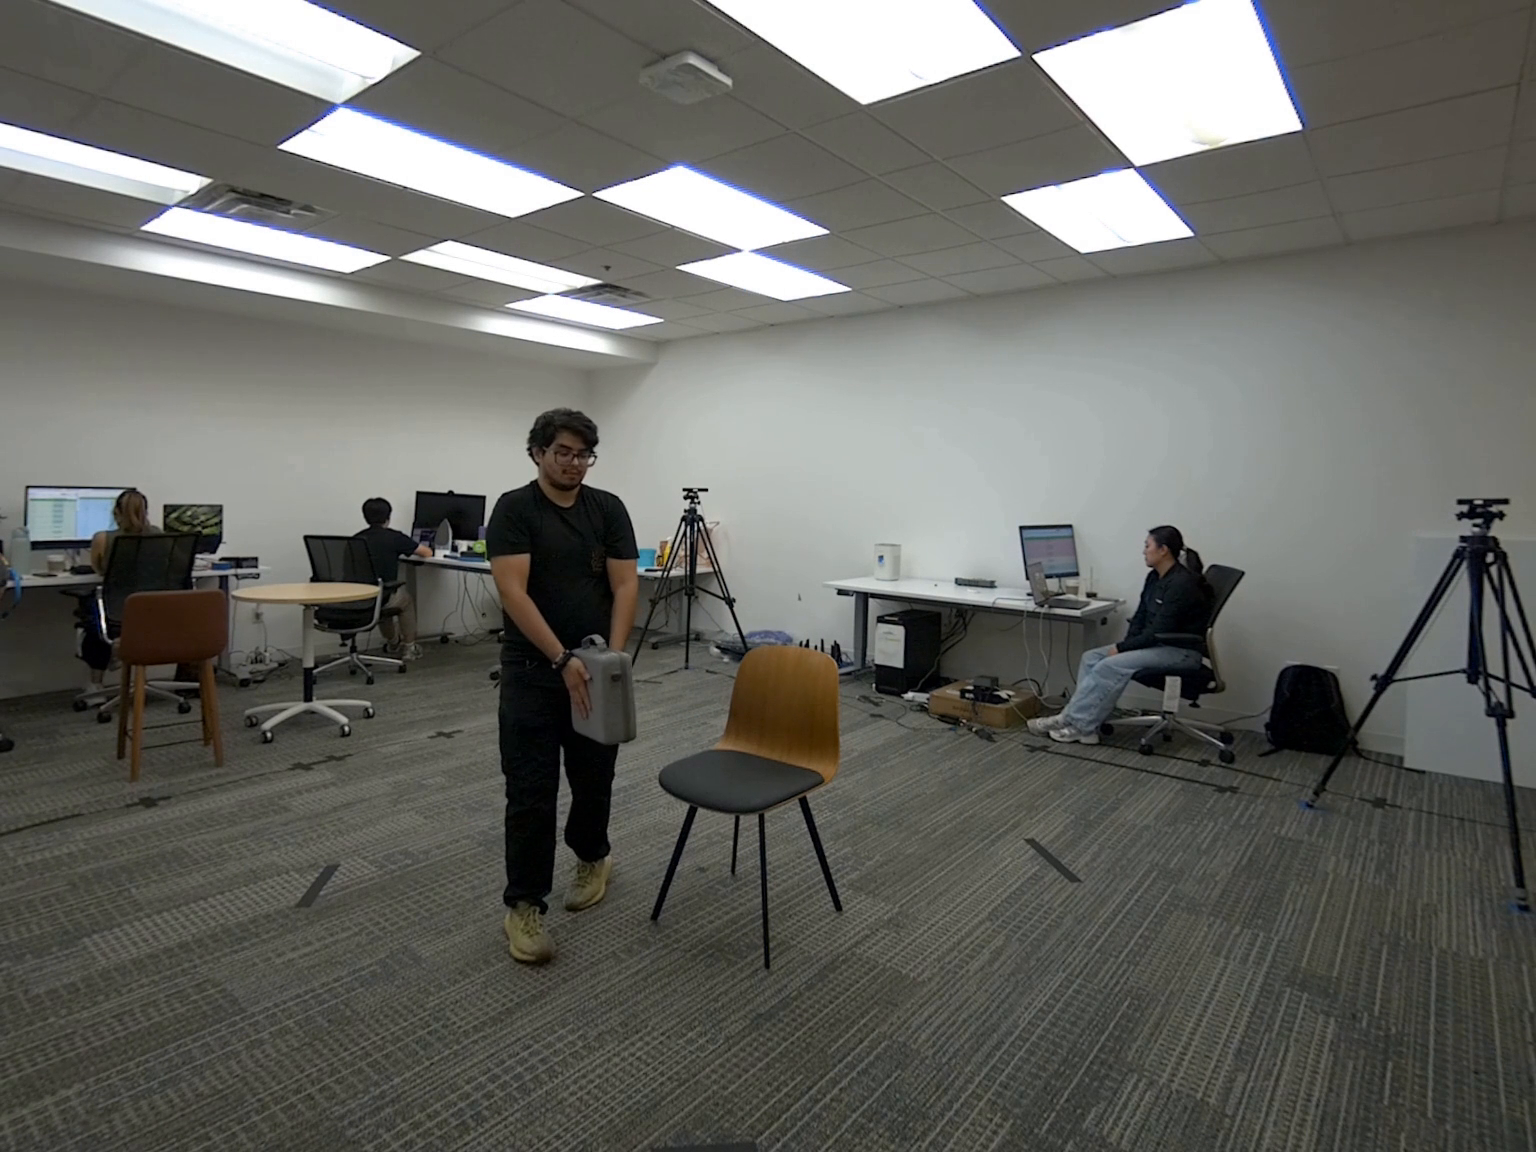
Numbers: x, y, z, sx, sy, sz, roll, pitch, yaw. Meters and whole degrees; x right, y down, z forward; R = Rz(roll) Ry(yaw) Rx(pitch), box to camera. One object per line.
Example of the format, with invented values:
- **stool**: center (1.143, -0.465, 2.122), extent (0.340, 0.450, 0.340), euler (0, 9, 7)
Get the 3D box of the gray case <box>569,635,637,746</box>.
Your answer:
- **gray case**: center (-0.492, 0.334, 2.437), extent (0.102, 0.260, 0.264), euler (-4, 2, -30)
